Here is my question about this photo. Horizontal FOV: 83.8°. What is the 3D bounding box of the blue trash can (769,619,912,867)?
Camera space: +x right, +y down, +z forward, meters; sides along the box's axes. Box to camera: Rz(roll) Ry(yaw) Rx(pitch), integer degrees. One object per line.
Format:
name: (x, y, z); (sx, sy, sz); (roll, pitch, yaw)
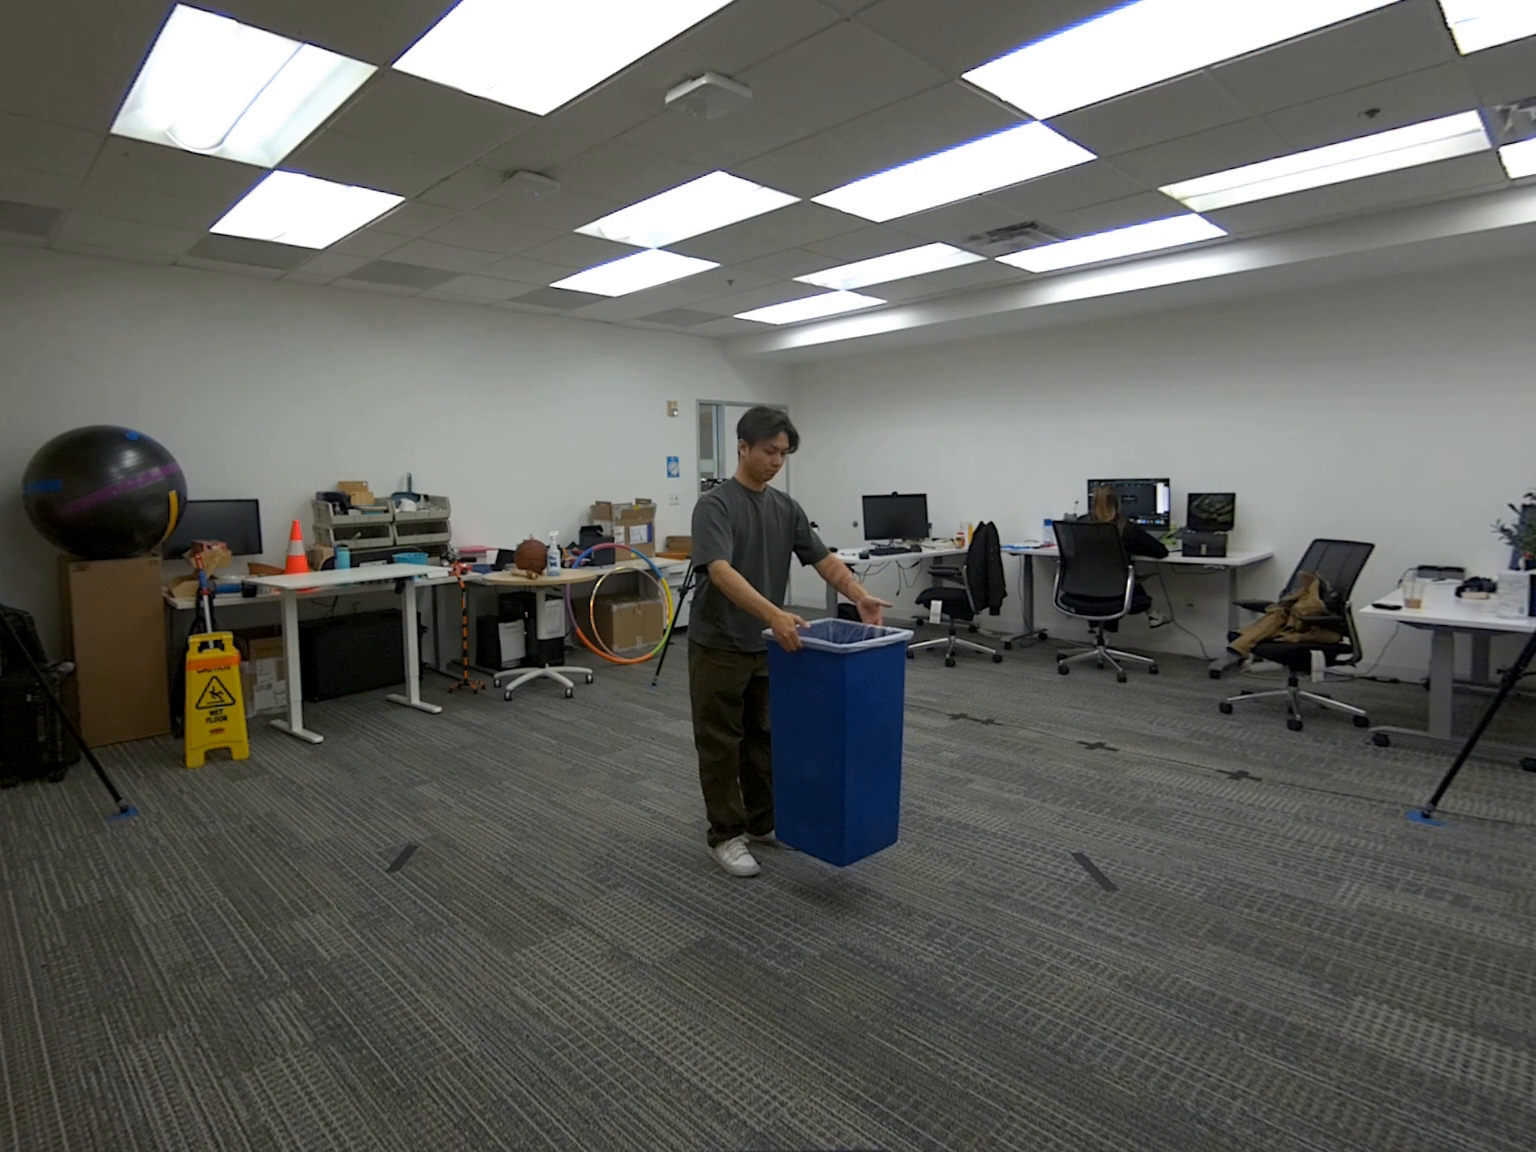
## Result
blue trash can: (0.242, 0.542, 2.846); (0.368, 0.711, 0.385); (-5, 5, -45)
